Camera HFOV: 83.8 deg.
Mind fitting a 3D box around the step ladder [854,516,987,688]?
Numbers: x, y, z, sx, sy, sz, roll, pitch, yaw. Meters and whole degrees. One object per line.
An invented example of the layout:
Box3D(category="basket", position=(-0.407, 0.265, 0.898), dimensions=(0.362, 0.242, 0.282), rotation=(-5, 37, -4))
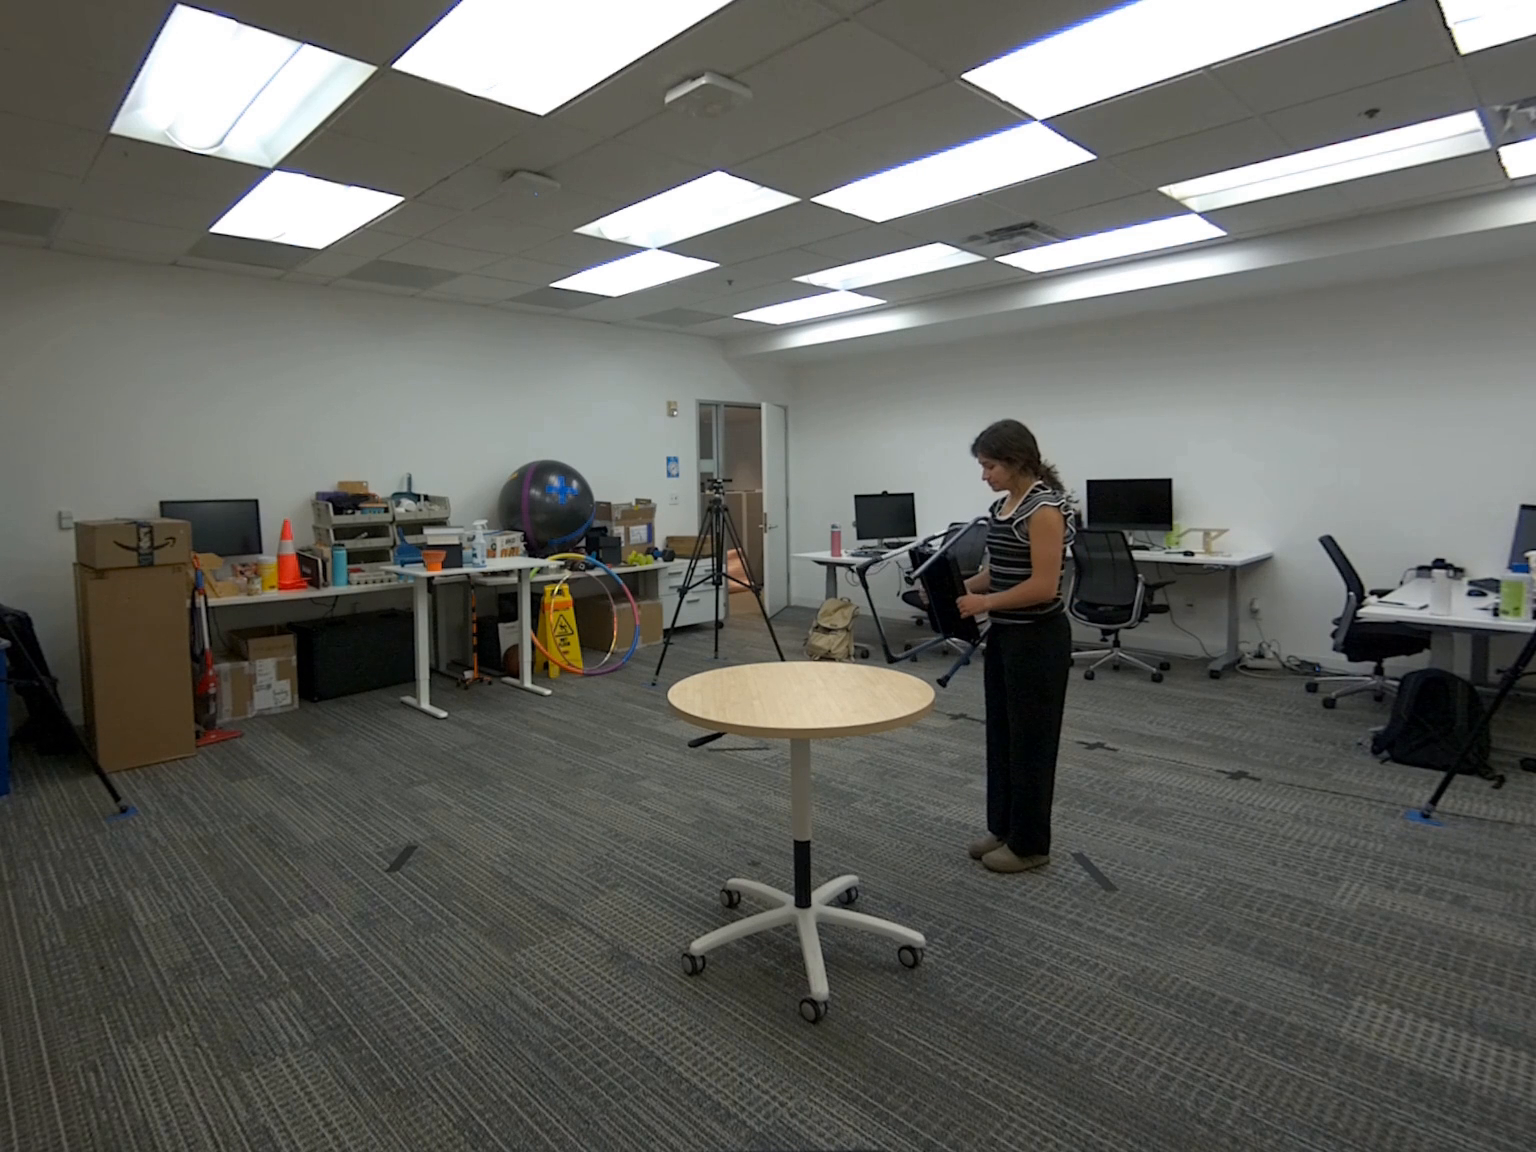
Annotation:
Box3D(category="step ladder", position=(0.714, 0.045, 3.162), dimensions=(0.600, 0.423, 0.359), rotation=(-27, 17, -22))
